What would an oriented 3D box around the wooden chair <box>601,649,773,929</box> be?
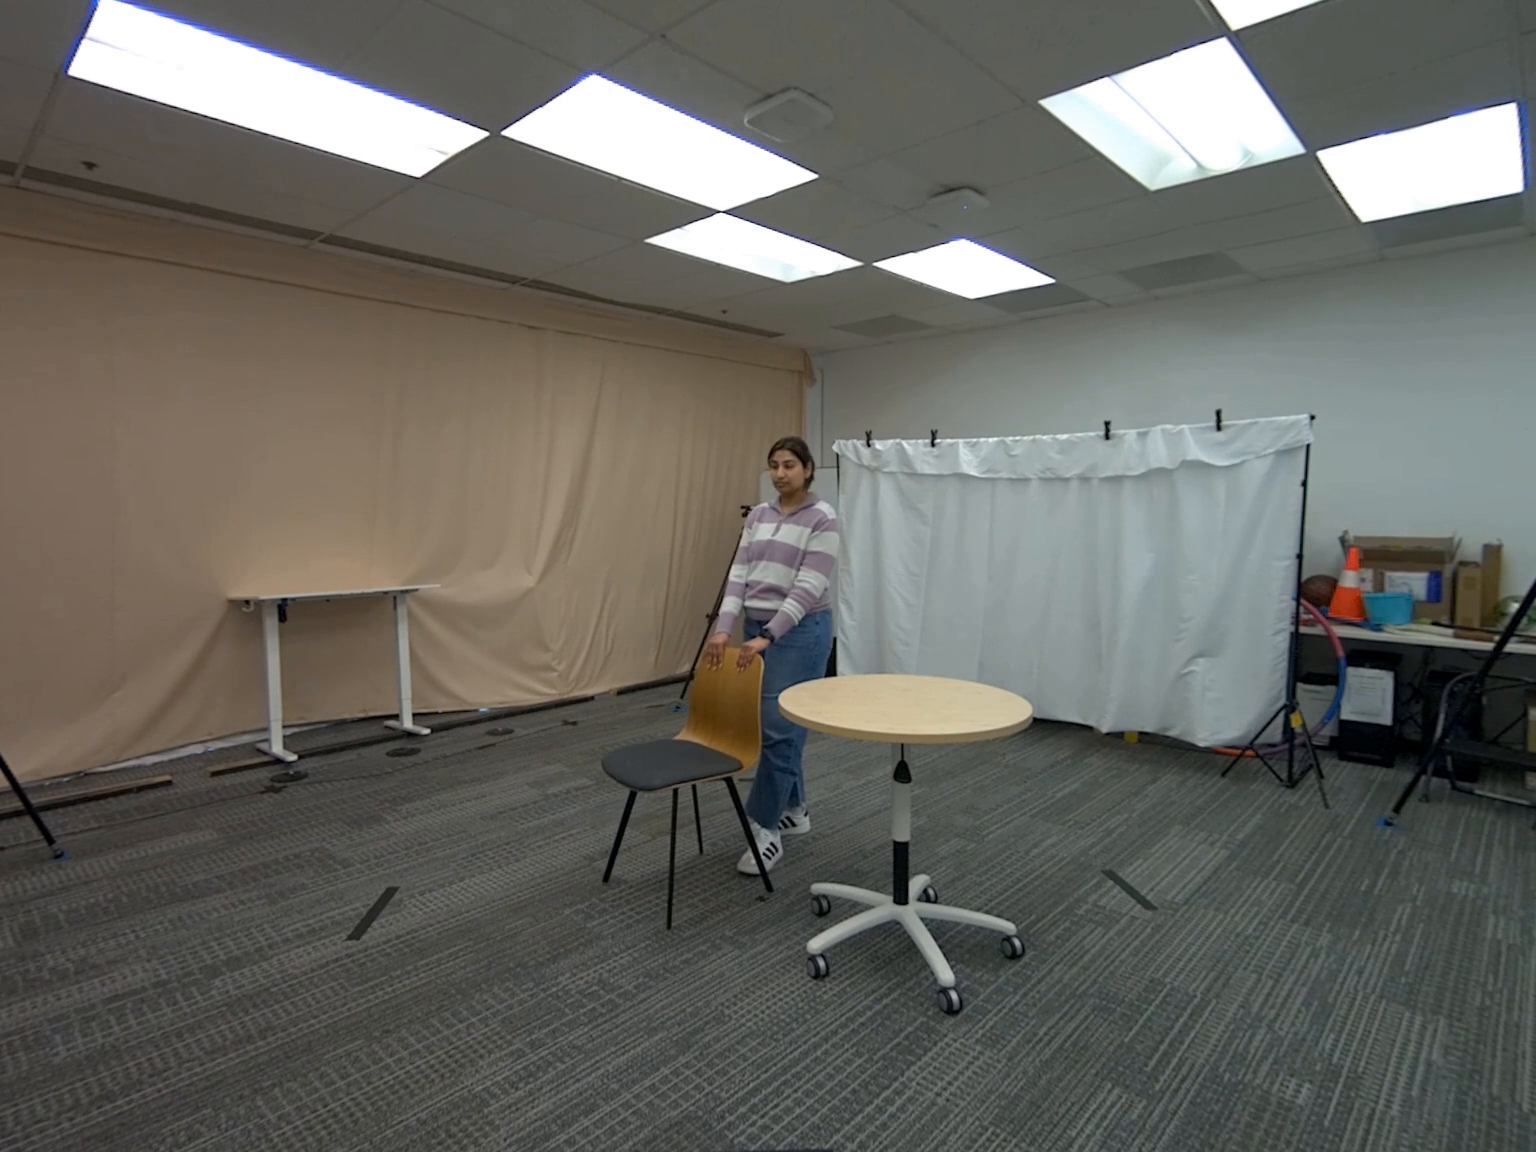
[{"bbox_3d":[-0.302,0.713,3.044,0.507,0.877,0.493,3,1,-38],"label":"wooden chair"}]
